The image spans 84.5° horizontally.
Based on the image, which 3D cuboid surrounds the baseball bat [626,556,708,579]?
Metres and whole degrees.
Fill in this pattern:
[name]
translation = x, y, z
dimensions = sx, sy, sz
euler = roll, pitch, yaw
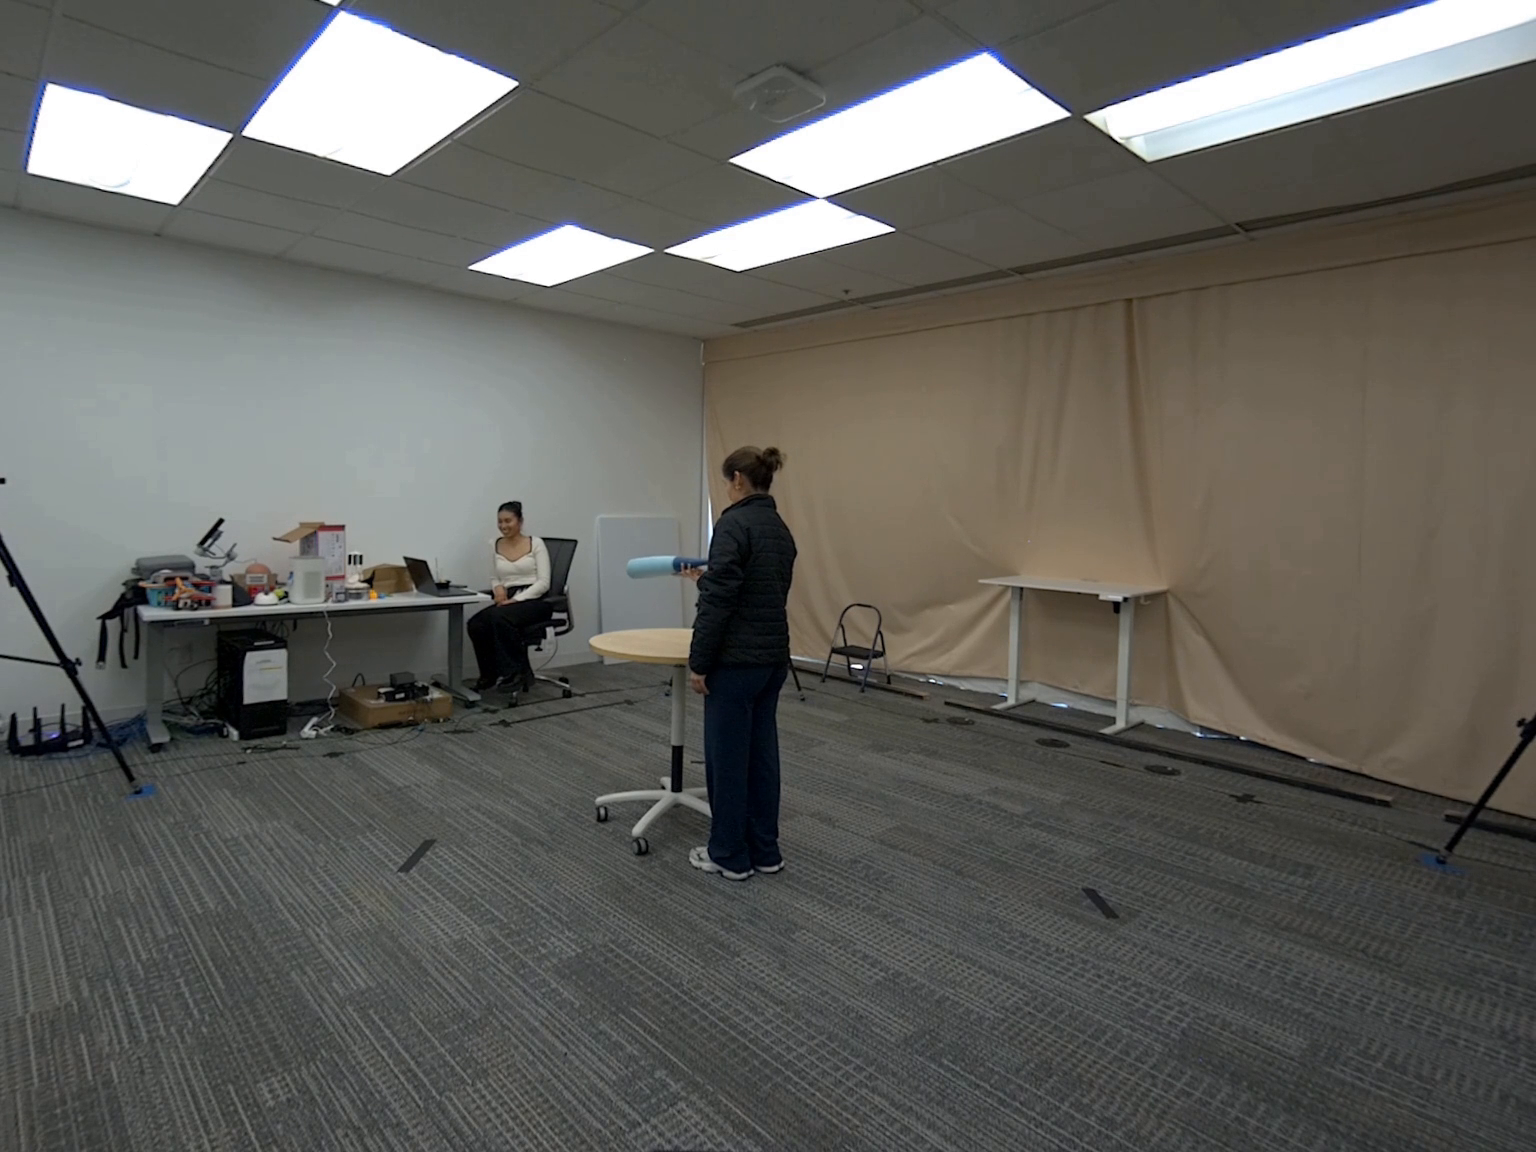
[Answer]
[baseball bat]
translation = -0.361, -0.044, 3.487
dimensions = 0.554, 0.089, 0.087
euler = -3, 1, 32
